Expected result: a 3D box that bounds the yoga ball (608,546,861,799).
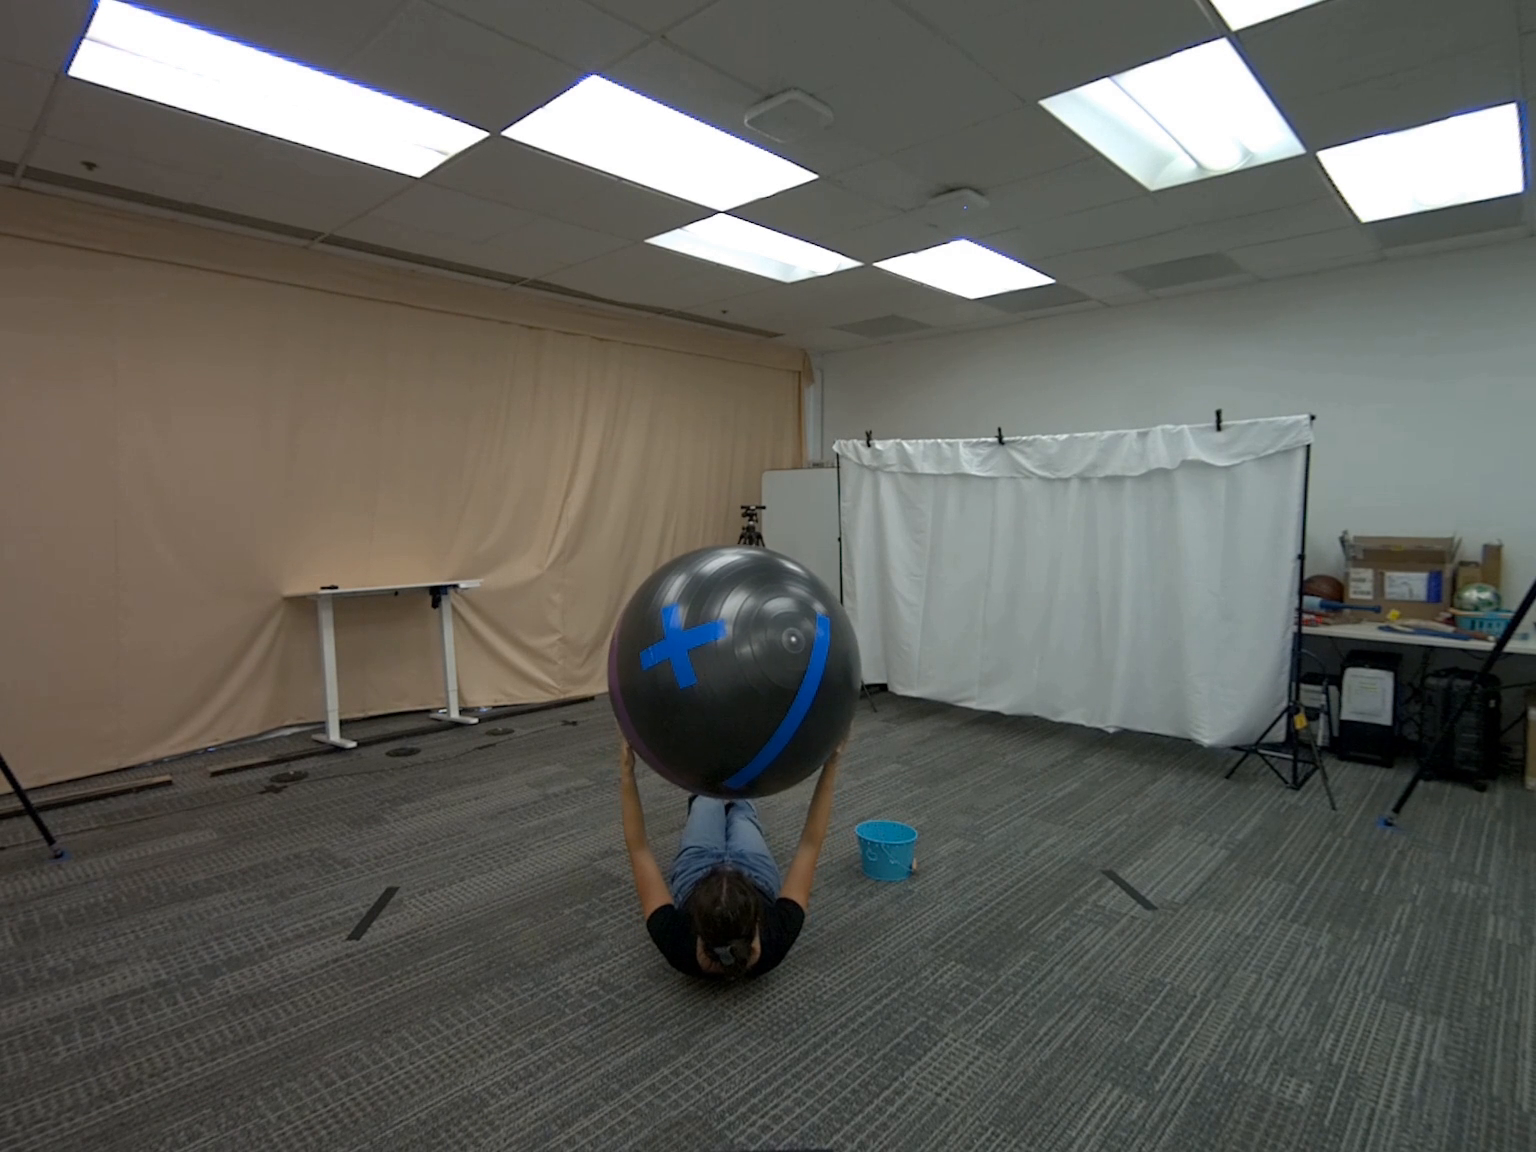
[{"bbox_3d":[-0.097,0.287,2.542,0.757,0.756,0.760,0,4,-2],"label":"yoga ball"}]
